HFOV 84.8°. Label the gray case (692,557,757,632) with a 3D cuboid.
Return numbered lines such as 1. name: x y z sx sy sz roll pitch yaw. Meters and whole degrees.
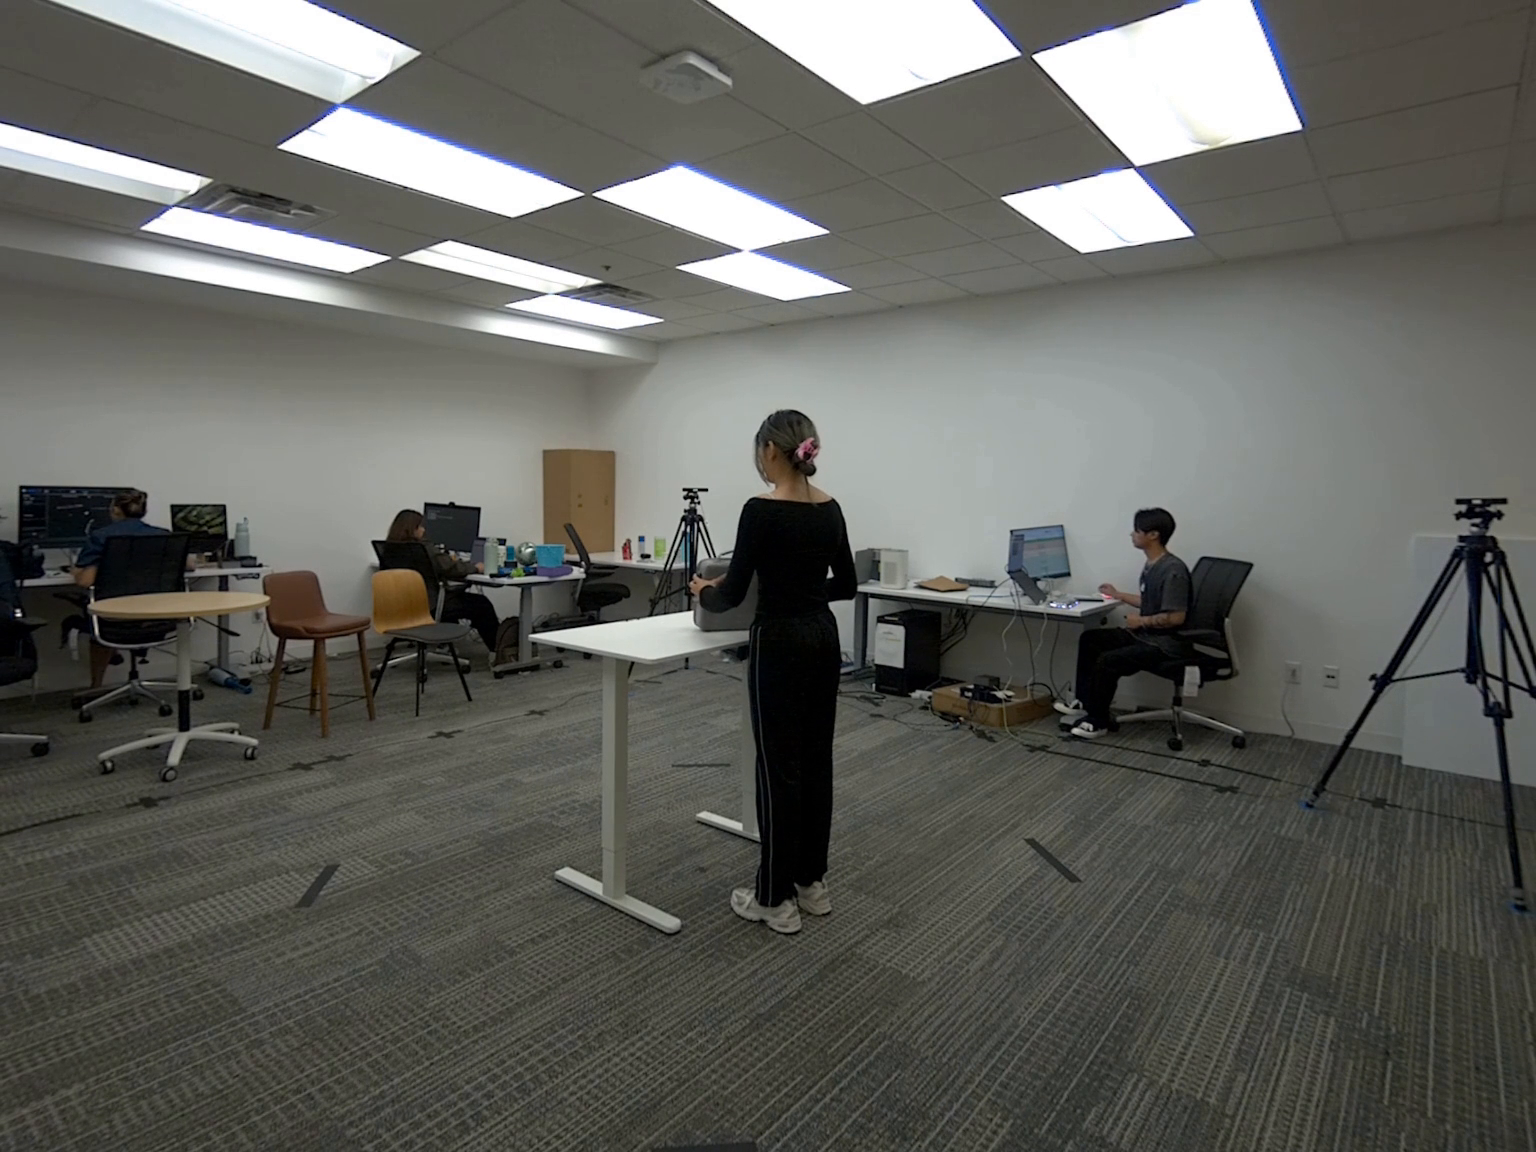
1. gray case: -0.134 0.062 3.057 0.252 0.258 0.107 1 10 -17
